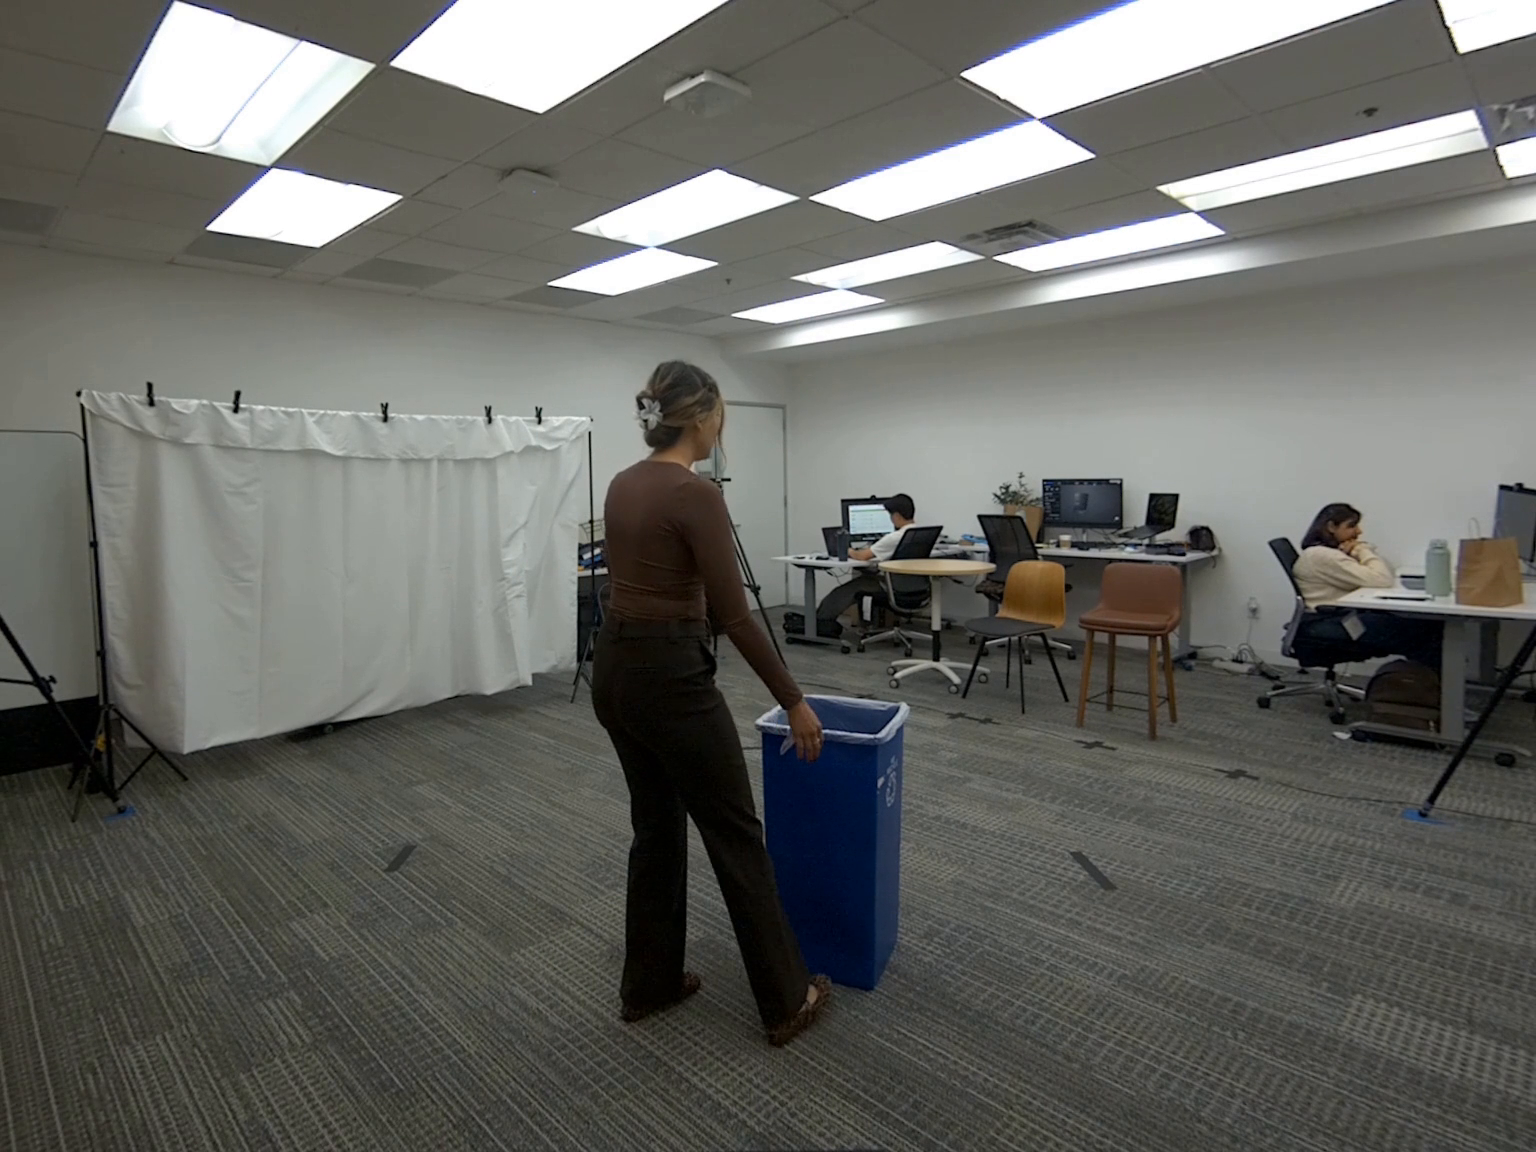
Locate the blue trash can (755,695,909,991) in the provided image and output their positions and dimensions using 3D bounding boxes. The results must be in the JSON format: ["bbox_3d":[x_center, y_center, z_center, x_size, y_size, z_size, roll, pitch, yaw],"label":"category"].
[{"bbox_3d":[0.202,0.750,2.498,0.387,0.711,0.367,1,5,24],"label":"blue trash can"}]
